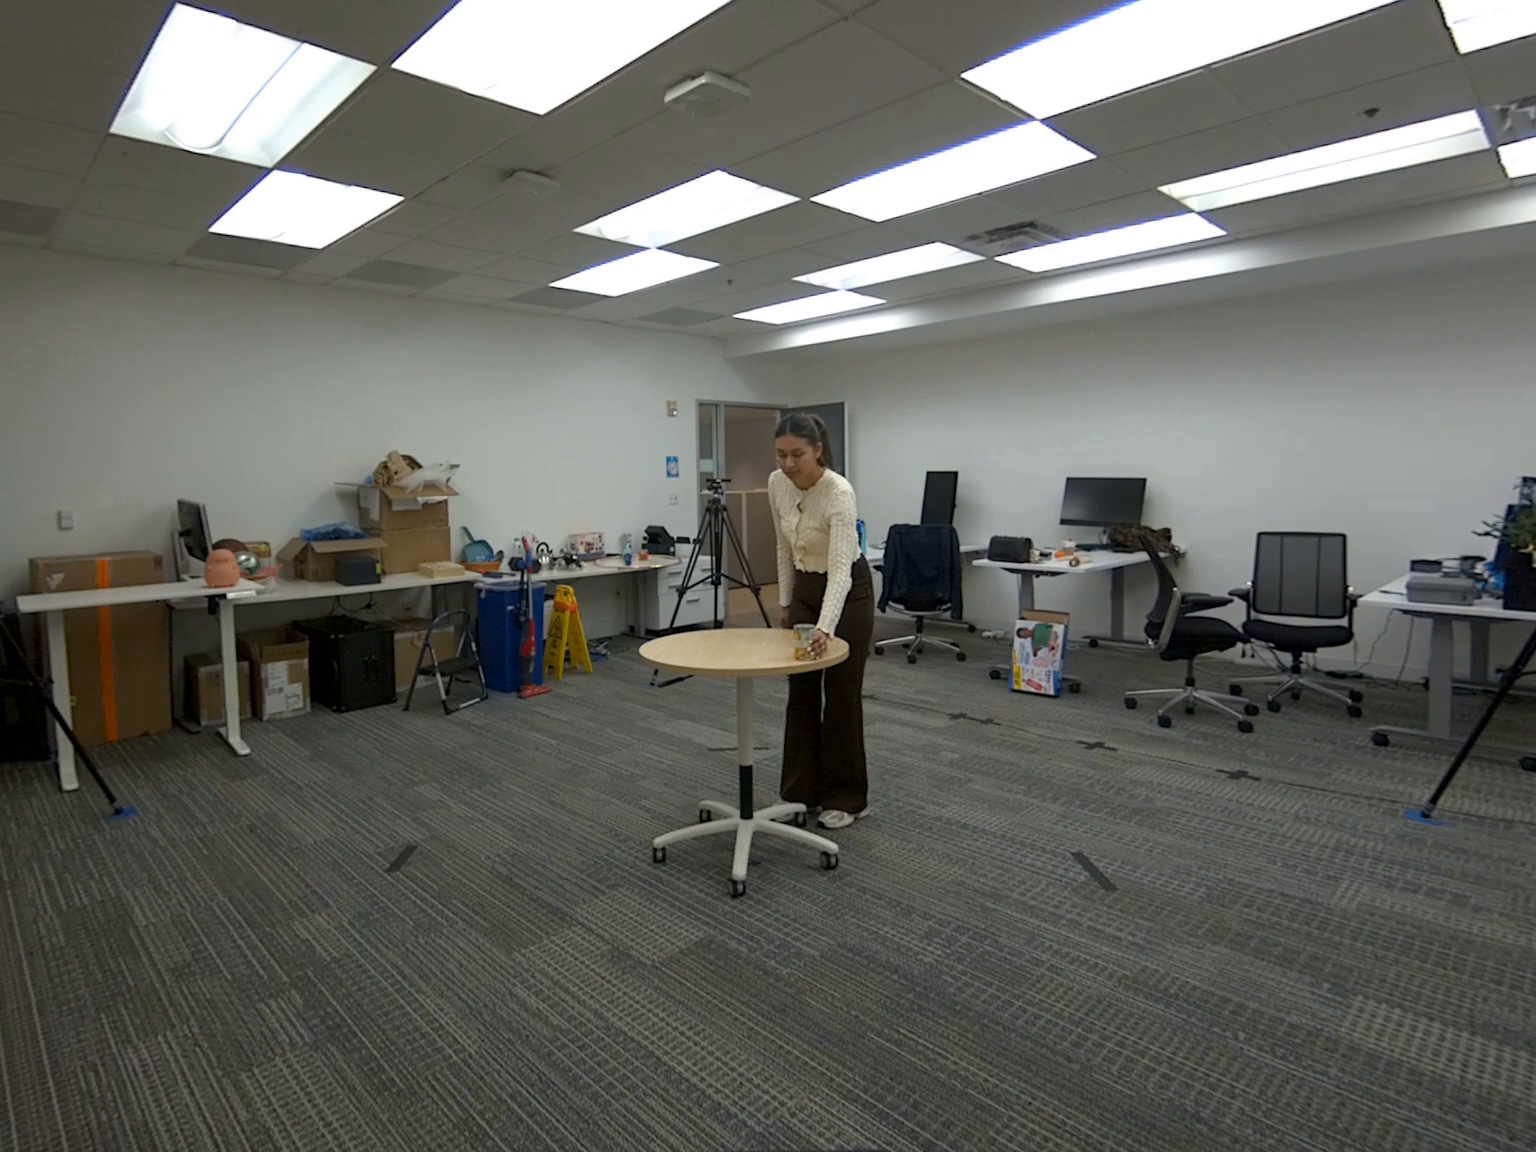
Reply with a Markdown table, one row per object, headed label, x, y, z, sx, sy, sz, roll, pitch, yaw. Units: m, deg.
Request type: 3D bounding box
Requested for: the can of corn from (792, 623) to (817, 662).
| label | x | y | z | sx | sy | sz | roll | pitch | yaw |
| --- | --- | --- | --- | --- | --- | --- | --- | --- | --- |
| can of corn | 0.127 | 0.226 | 2.871 | 0.074 | 0.111 | 0.074 | -1 | 3 | -2 |
